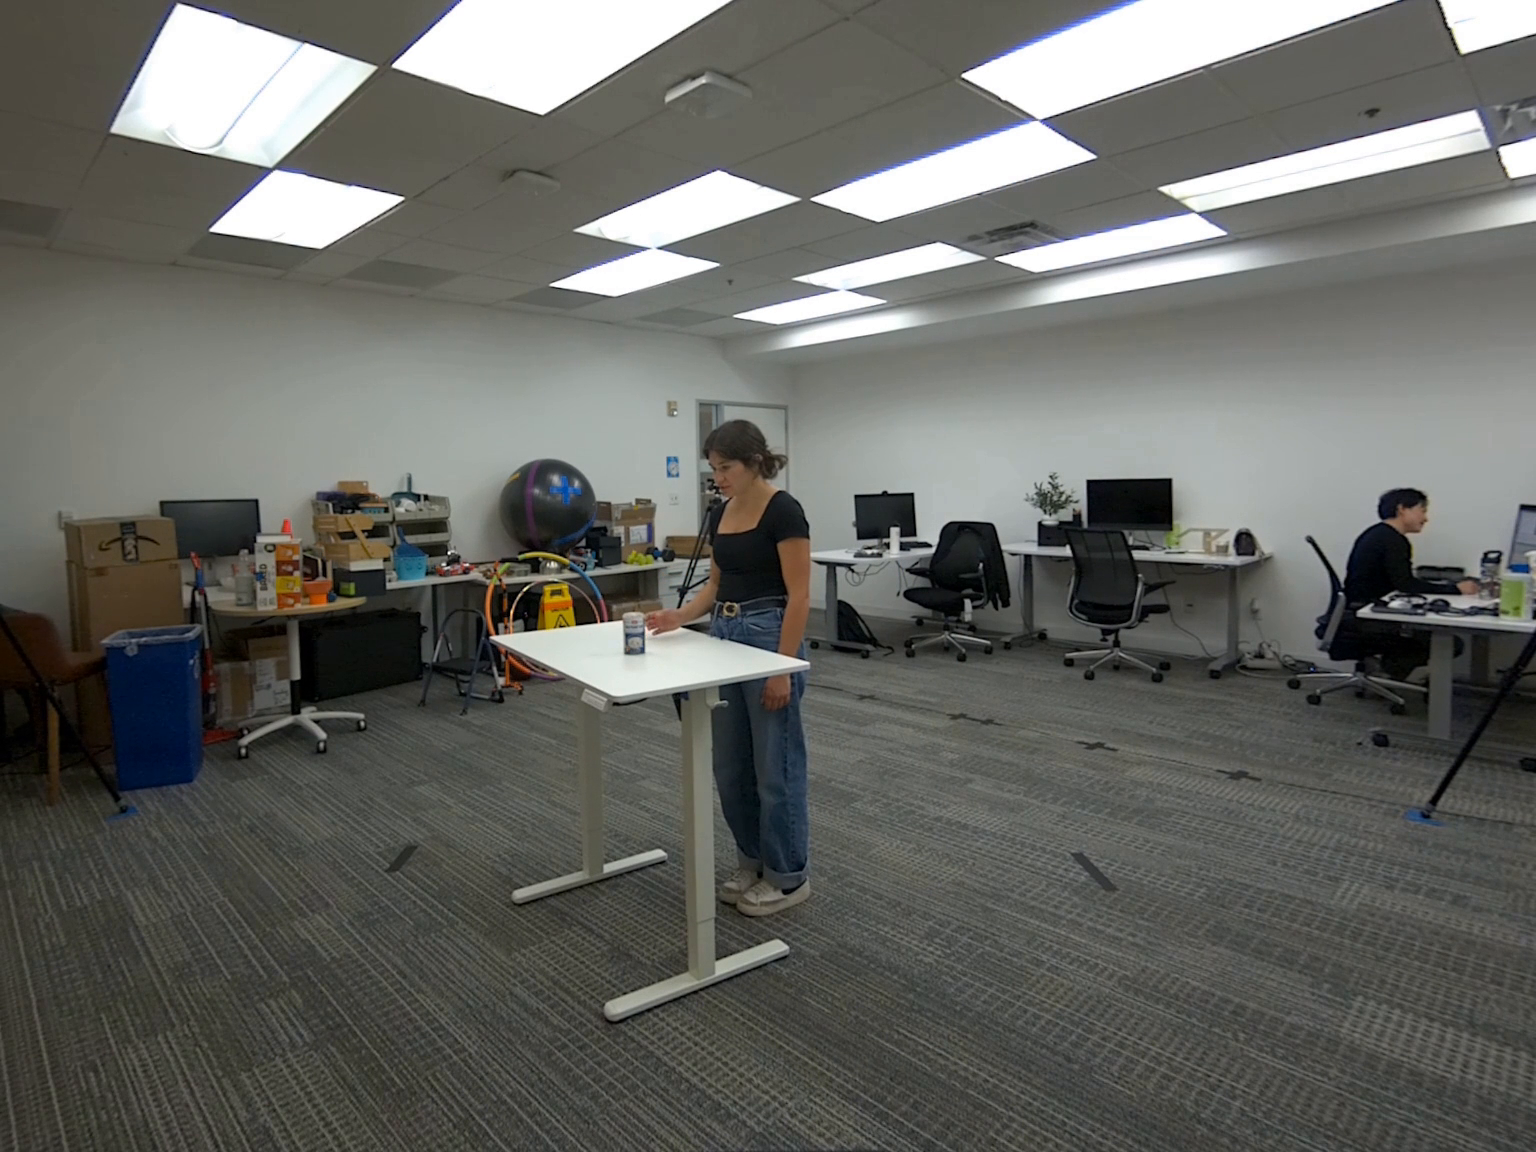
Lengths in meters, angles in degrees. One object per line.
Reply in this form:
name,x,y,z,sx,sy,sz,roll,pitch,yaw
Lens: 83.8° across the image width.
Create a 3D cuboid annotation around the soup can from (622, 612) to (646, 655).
soup can,-0.401,0.176,2.562,0.067,0.121,0.067,-1,3,-2
